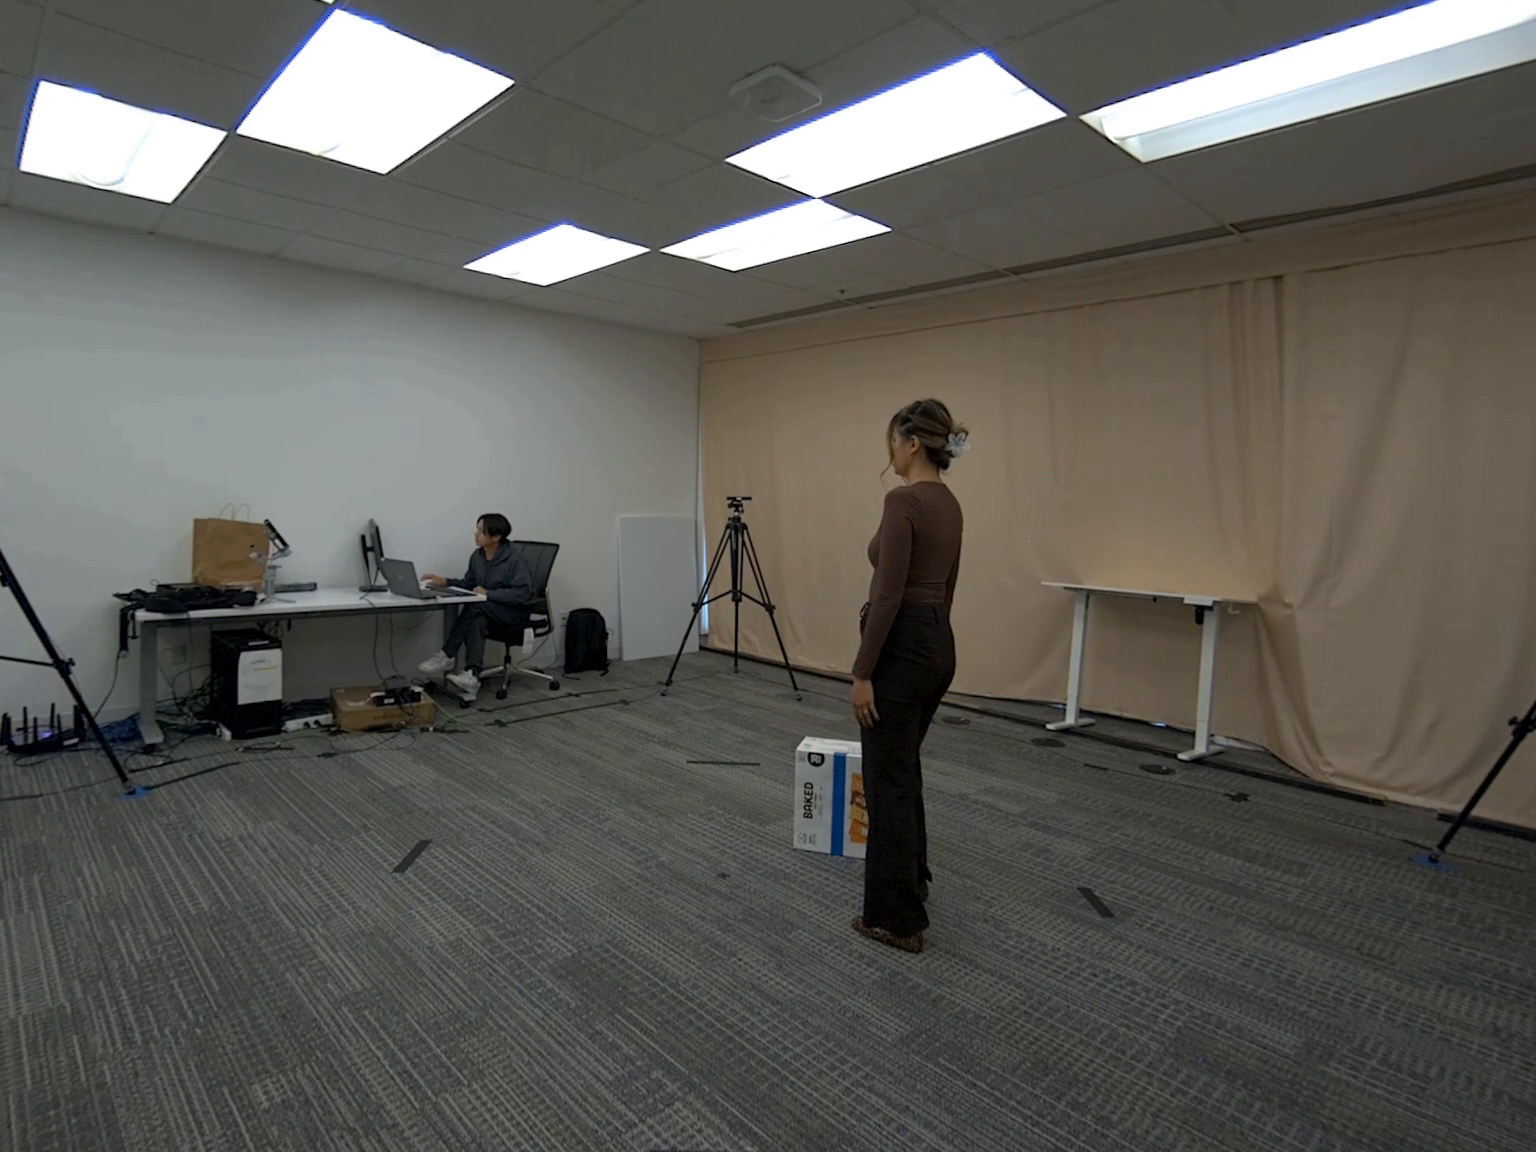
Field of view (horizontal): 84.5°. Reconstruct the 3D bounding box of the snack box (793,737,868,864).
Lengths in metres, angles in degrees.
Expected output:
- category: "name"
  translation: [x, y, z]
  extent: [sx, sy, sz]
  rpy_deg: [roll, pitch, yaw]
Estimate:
- category: "snack box"
  translation: [0.294, 0.891, 3.392]
  extent: [0.345, 0.404, 0.203]
  rpy_deg: [3, 3, 16]
